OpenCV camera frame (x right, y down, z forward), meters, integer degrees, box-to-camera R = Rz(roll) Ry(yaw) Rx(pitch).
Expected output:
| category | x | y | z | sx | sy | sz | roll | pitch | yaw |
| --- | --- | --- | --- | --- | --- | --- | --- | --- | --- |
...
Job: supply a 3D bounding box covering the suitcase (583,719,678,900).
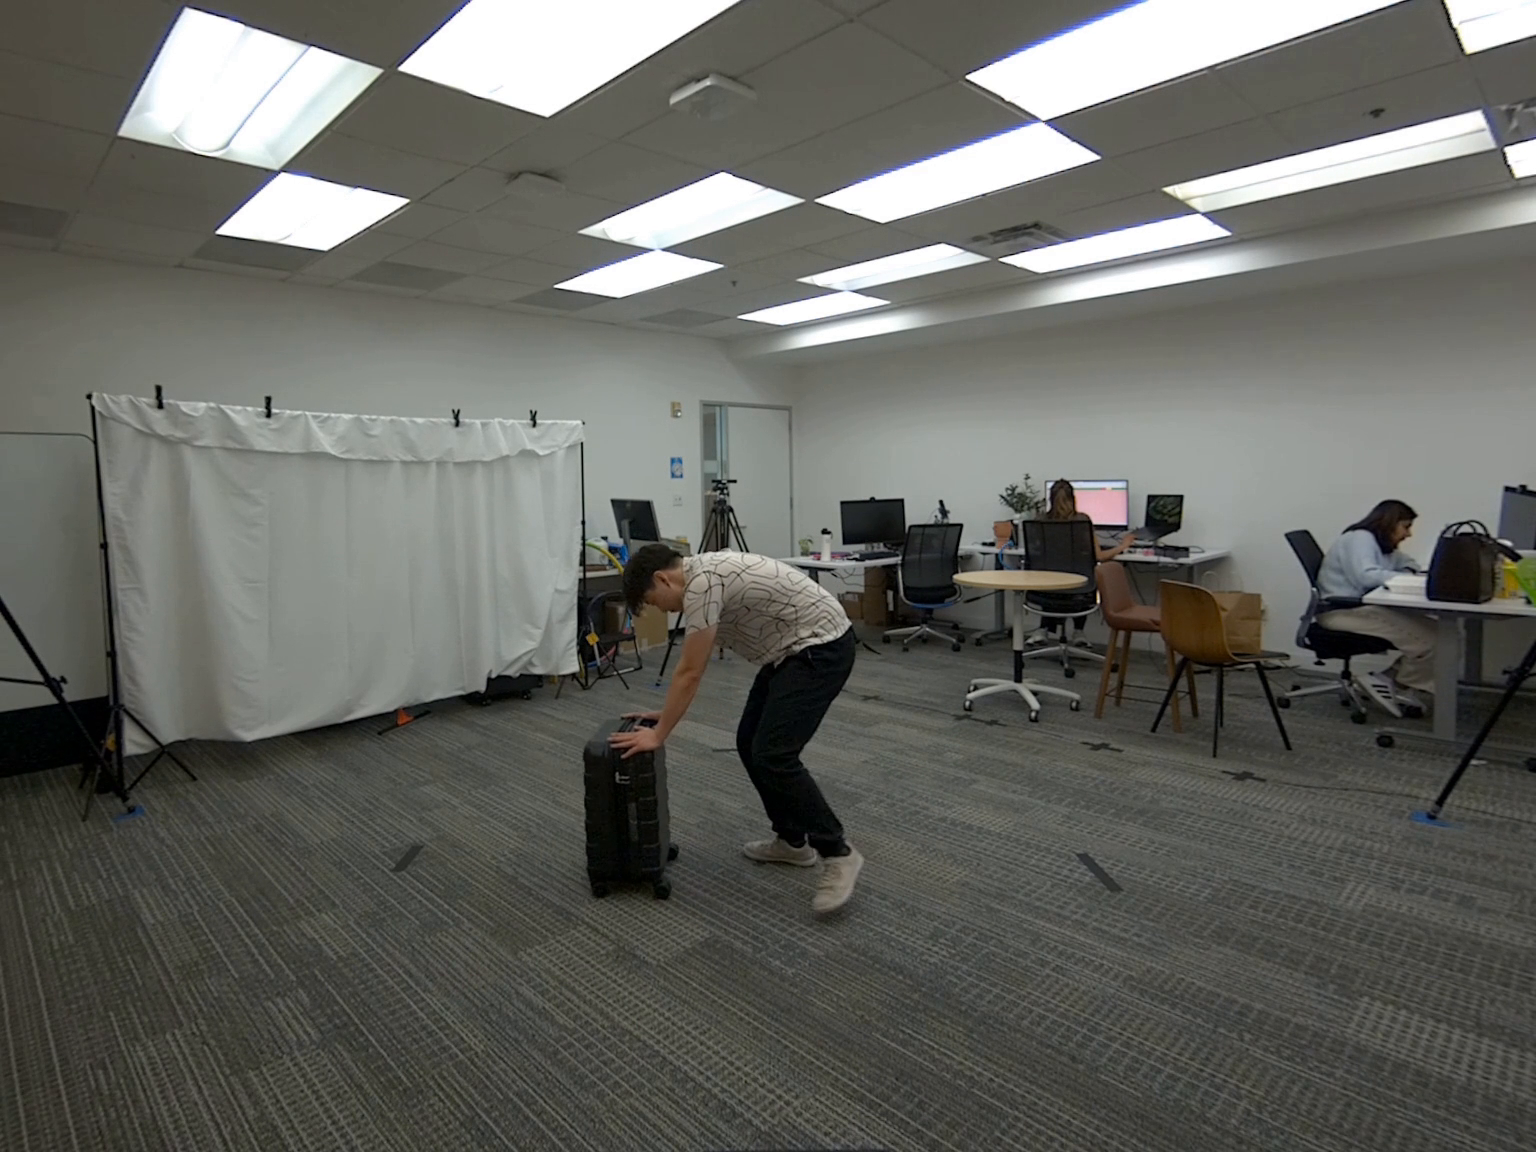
| category | x | y | z | sx | sy | sz | roll | pitch | yaw |
| --- | --- | --- | --- | --- | --- | --- | --- | --- | --- |
| suitcase | -0.489 | 0.795 | 3.005 | 0.249 | 0.547 | 0.375 | -3 | 4 | 3 |
